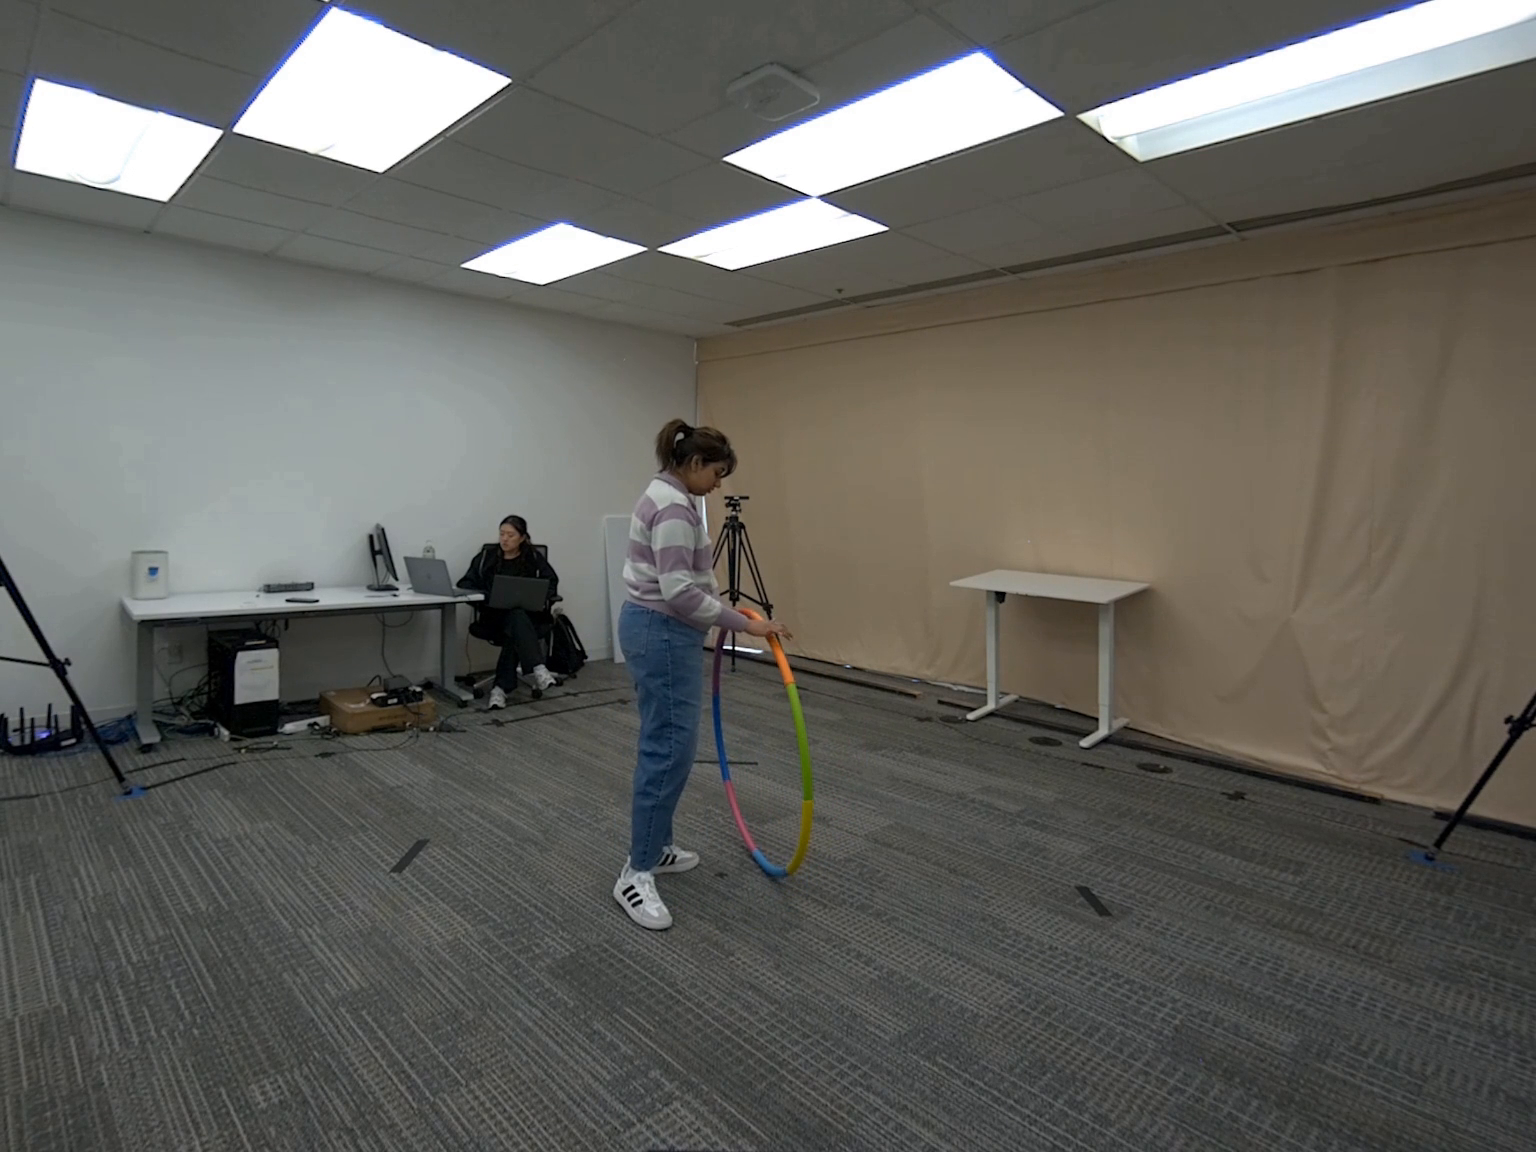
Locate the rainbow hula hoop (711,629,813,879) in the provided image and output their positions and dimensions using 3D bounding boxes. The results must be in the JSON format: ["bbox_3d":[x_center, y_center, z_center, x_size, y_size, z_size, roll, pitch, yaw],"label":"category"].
[{"bbox_3d":[-0.050,0.617,3.158,0.051,0.981,1.003,-5,6,-21],"label":"rainbow hula hoop"}]
